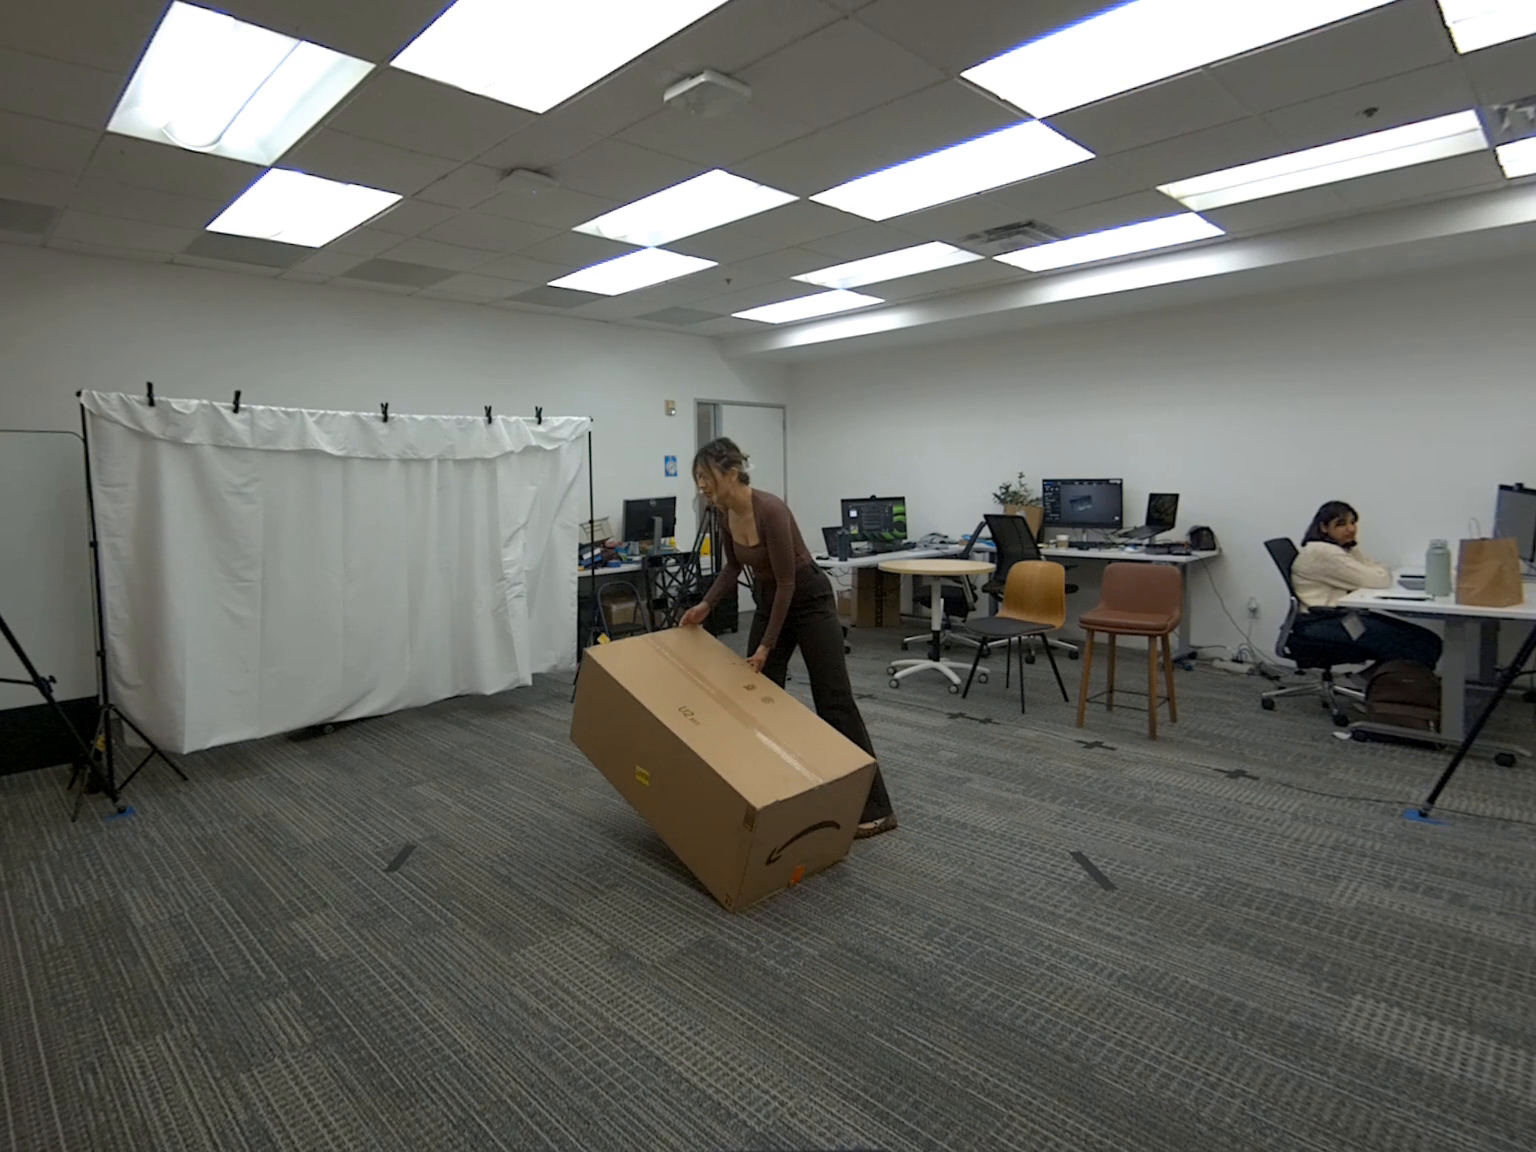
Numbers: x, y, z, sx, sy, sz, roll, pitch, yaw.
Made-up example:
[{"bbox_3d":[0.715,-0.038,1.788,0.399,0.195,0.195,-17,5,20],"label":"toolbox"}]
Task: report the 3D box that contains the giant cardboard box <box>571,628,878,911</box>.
[{"bbox_3d":[-0.208,0.652,3.194,0.570,0.440,1.067,-10,31,-41],"label":"giant cardboard box"}]
